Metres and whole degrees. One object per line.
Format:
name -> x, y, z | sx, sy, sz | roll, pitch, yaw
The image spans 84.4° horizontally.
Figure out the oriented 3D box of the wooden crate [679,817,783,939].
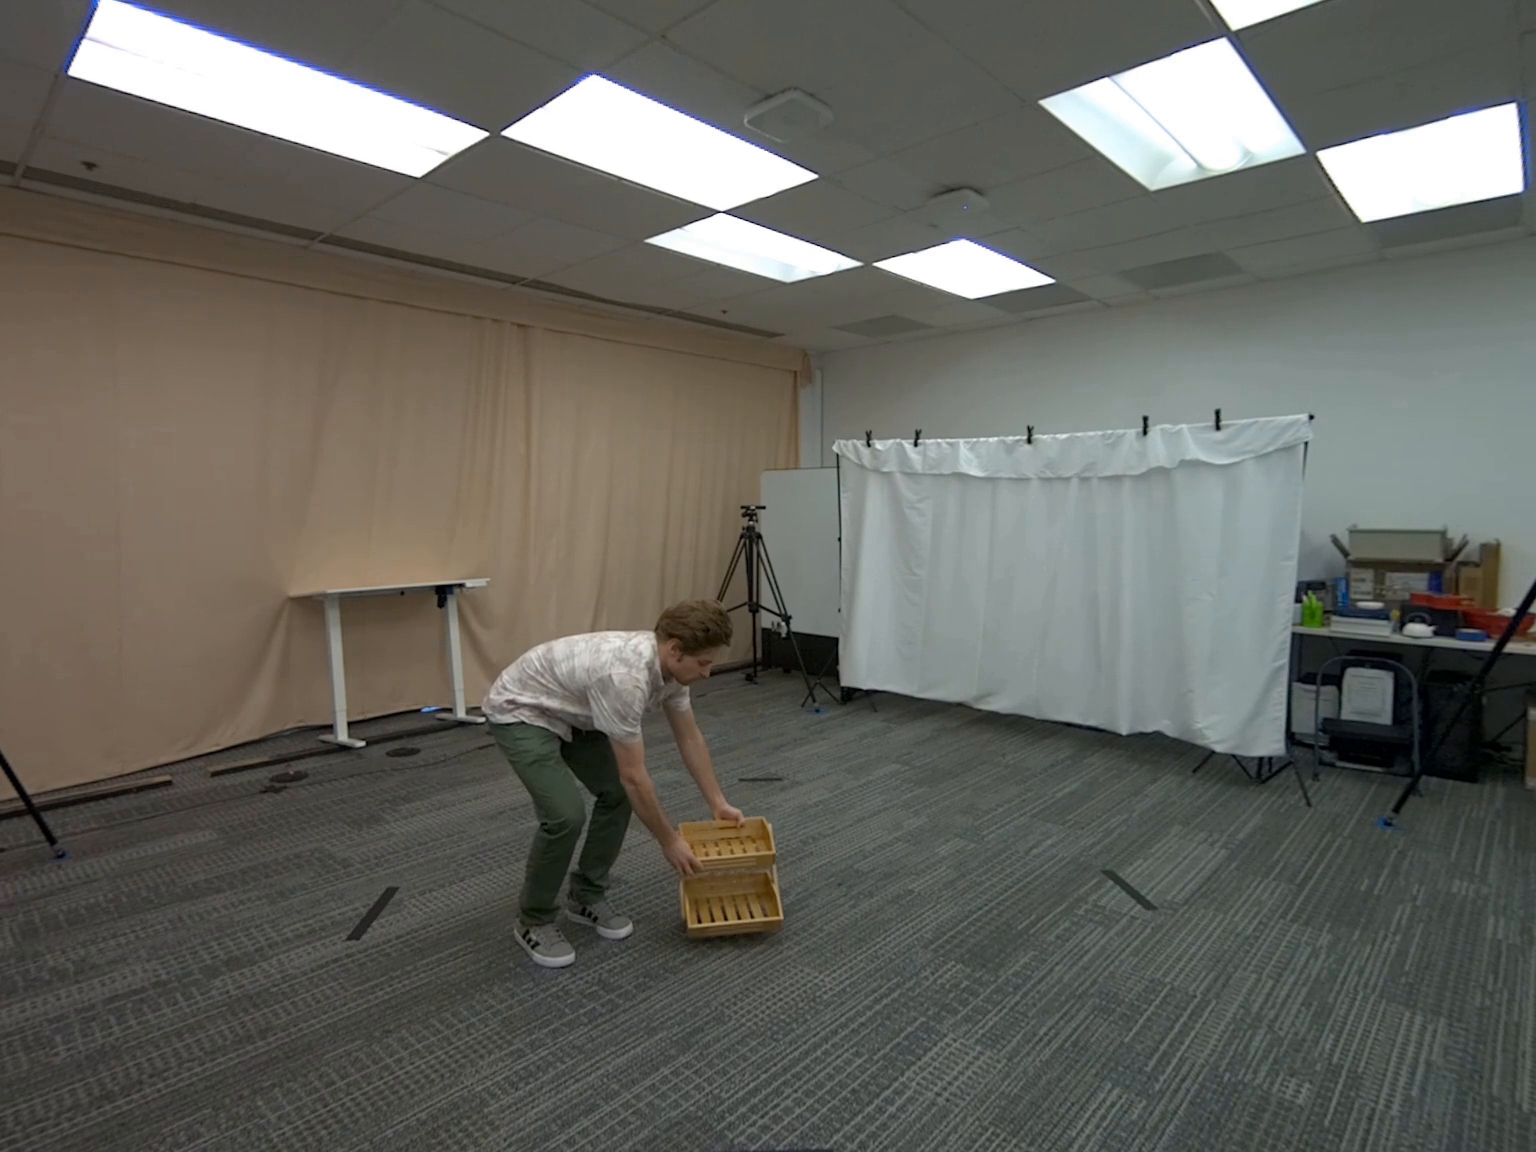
wooden crate -> -0.123, 0.984, 2.753 | 0.321, 0.272, 0.305 | -3, 4, -9
